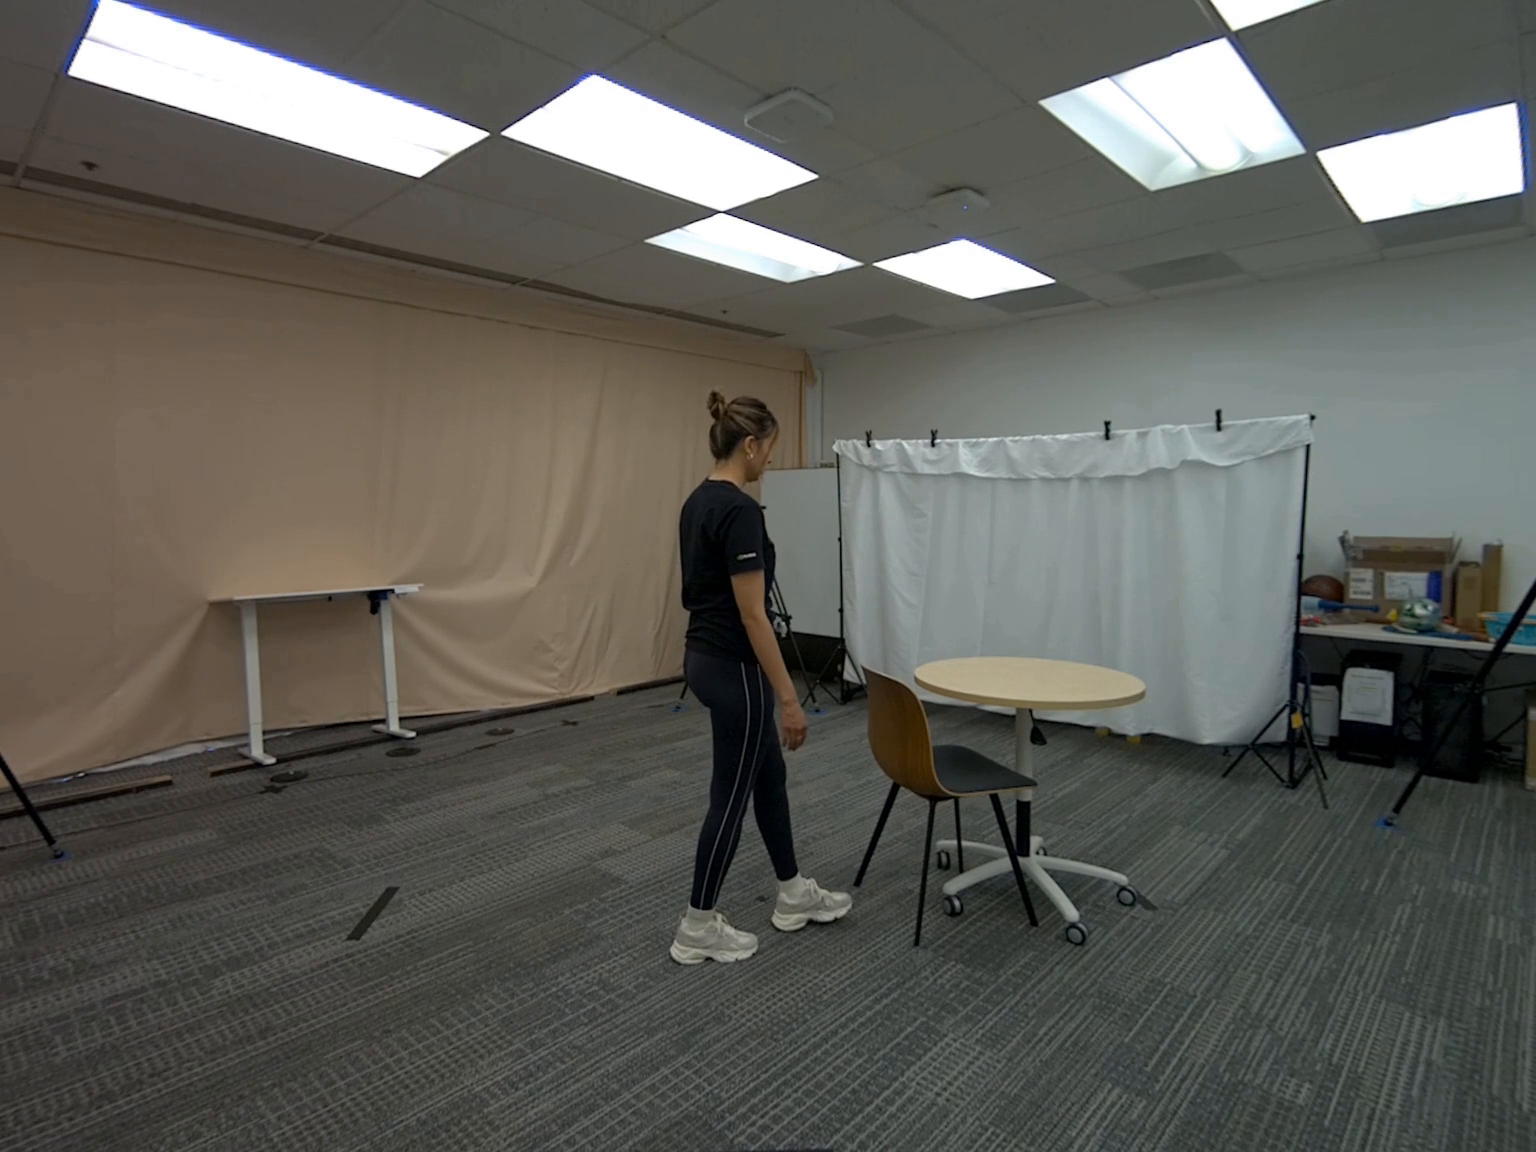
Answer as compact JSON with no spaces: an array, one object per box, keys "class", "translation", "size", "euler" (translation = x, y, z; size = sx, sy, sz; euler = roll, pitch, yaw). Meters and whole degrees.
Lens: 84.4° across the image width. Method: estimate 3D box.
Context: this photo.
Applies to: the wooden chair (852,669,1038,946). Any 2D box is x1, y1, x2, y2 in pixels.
[{"class":"wooden chair","translation":[0.611,0.719,2.905],"size":[0.514,0.875,0.488],"euler":[-5,4,-18]}]
